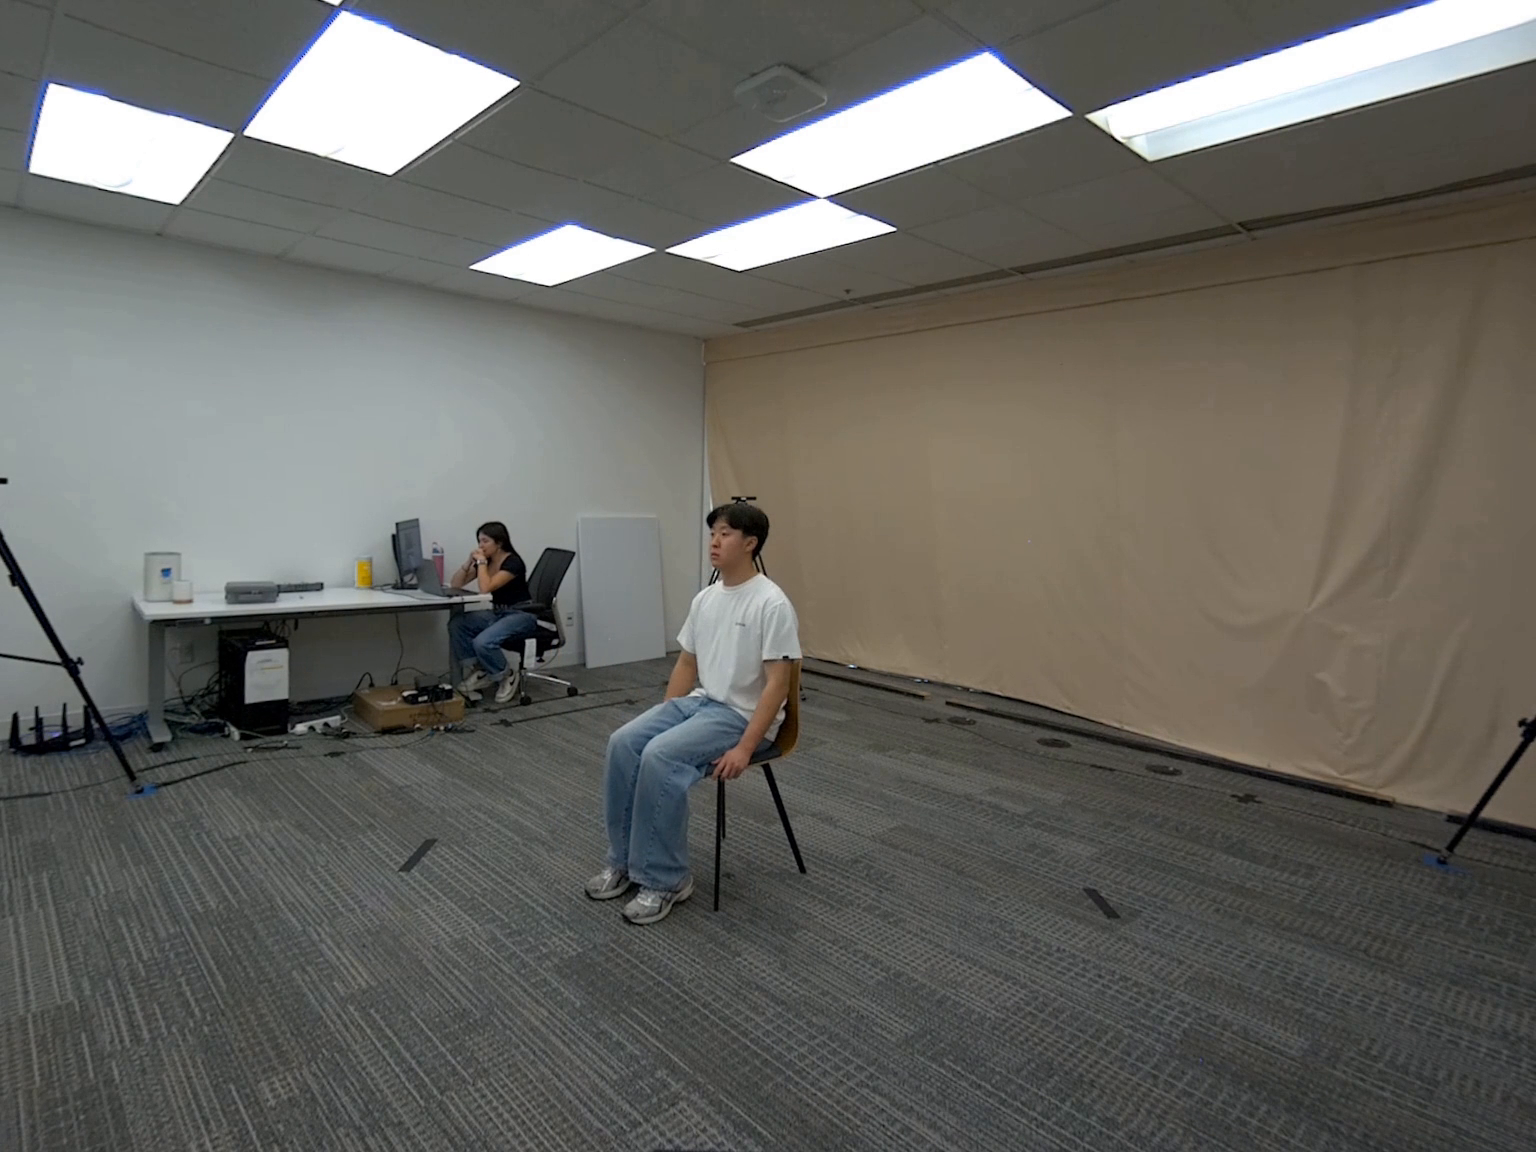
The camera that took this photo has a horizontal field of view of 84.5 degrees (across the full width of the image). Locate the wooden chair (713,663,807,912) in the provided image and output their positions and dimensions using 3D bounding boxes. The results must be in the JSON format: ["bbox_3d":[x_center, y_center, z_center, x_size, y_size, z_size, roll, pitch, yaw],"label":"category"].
[{"bbox_3d":[-0.175,0.677,3.117,0.510,0.877,0.490,4,0,-45],"label":"wooden chair"}]
